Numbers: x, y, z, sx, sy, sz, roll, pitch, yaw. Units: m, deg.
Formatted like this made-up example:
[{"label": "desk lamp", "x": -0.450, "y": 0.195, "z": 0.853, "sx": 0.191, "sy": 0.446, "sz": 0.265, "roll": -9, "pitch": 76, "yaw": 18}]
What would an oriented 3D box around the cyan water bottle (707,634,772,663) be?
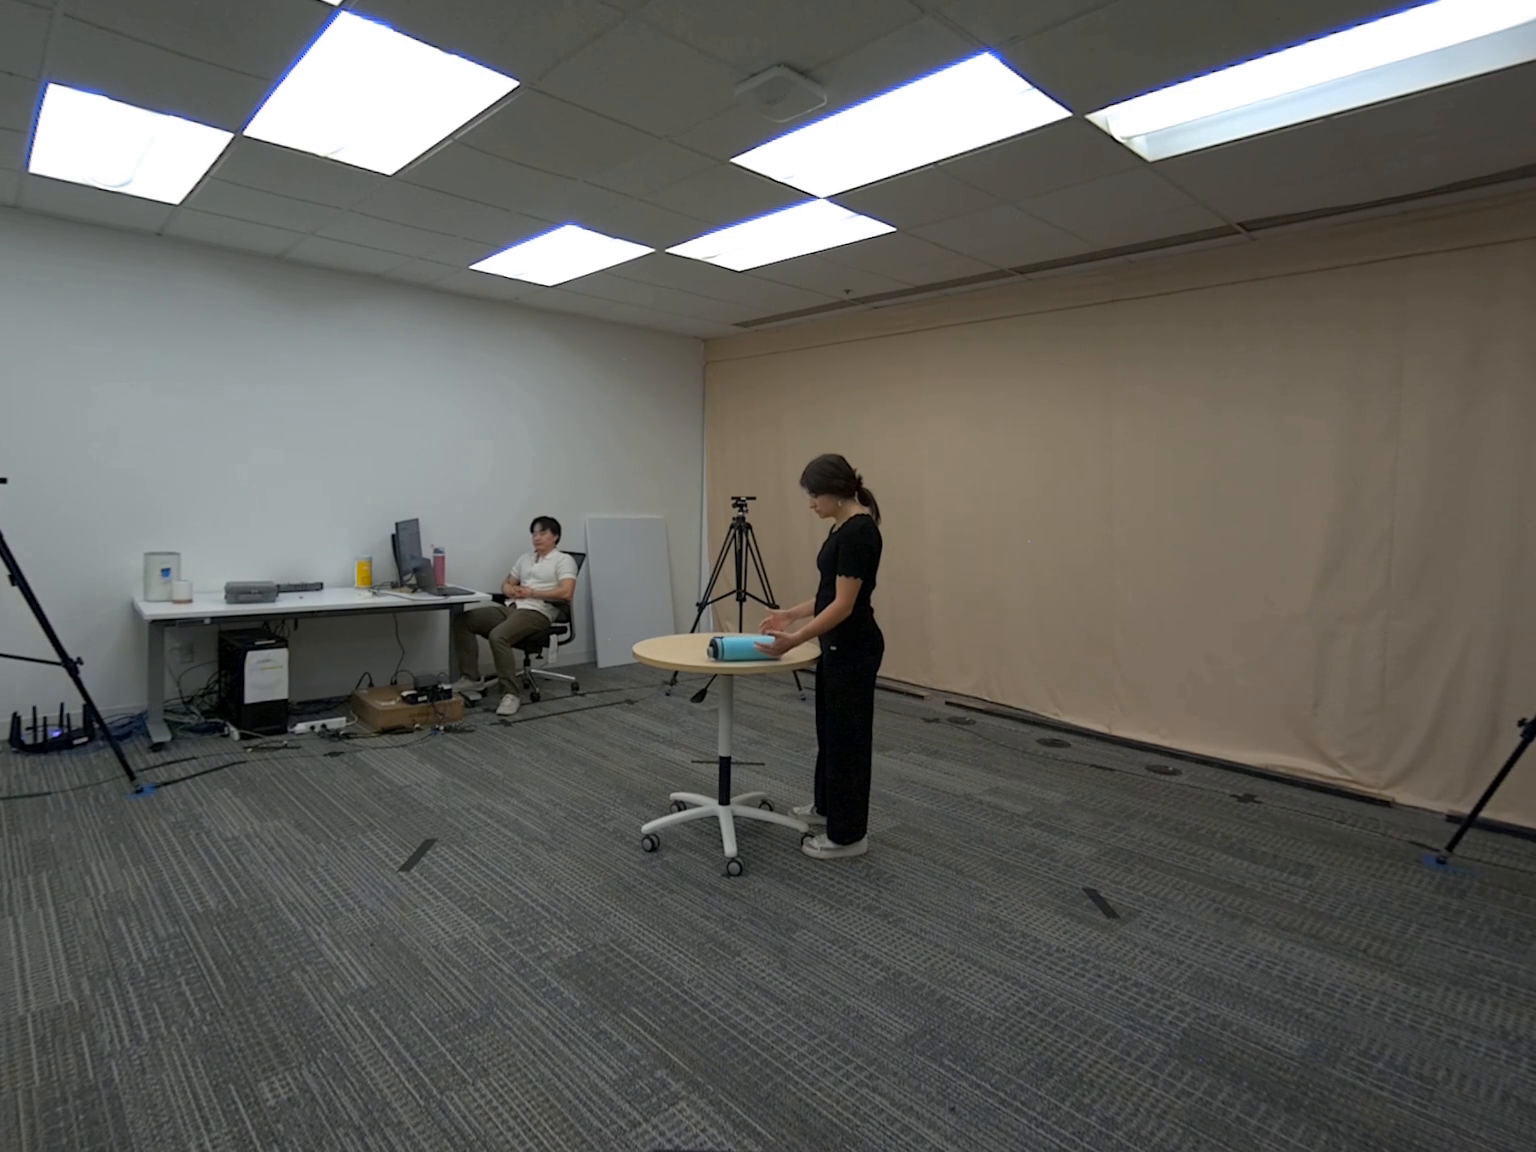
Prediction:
[{"label": "cyan water bottle", "x": -0.094, "y": 0.270, "z": 3.166, "sx": 0.279, "sy": 0.092, "sz": 0.094, "roll": 0, "pitch": 4, "yaw": -18}]
